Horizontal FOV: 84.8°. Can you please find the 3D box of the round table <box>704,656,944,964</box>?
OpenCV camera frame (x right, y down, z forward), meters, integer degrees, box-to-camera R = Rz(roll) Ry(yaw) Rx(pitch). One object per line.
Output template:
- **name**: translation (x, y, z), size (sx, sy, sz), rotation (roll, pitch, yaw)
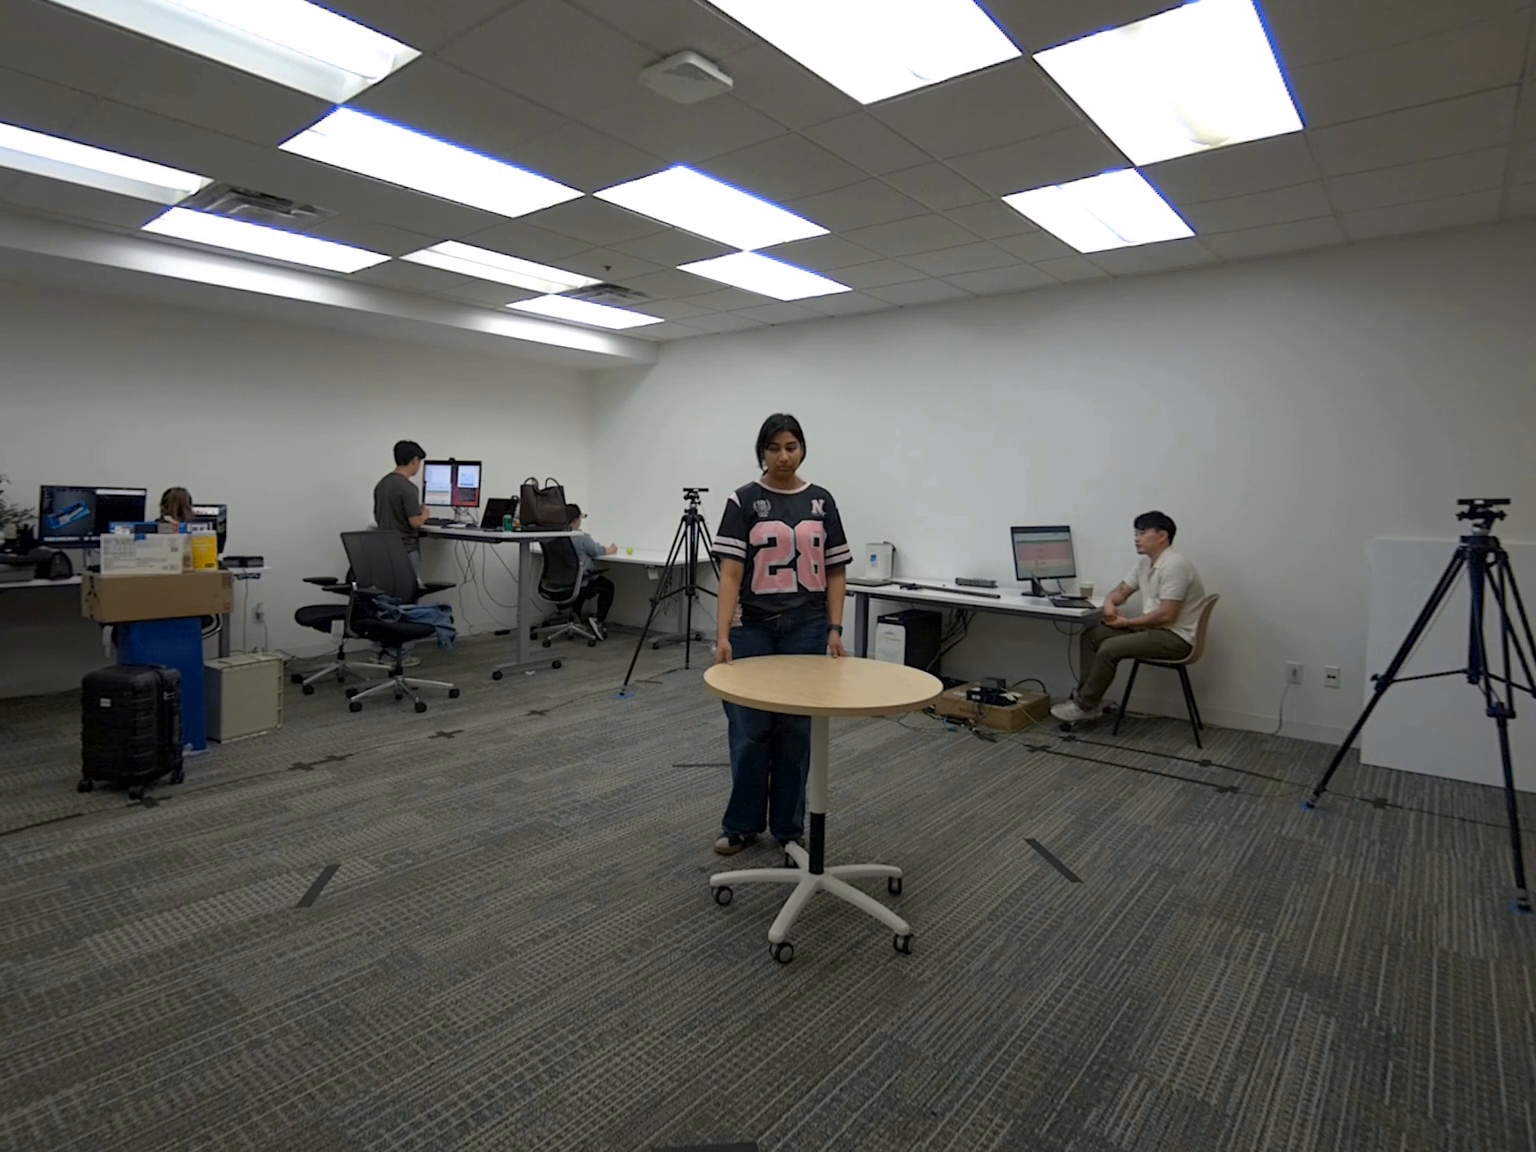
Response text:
- **round table**: translation (0.162, 0.714, 2.797), size (0.784, 0.784, 0.789), rotation (1, 5, -2)
